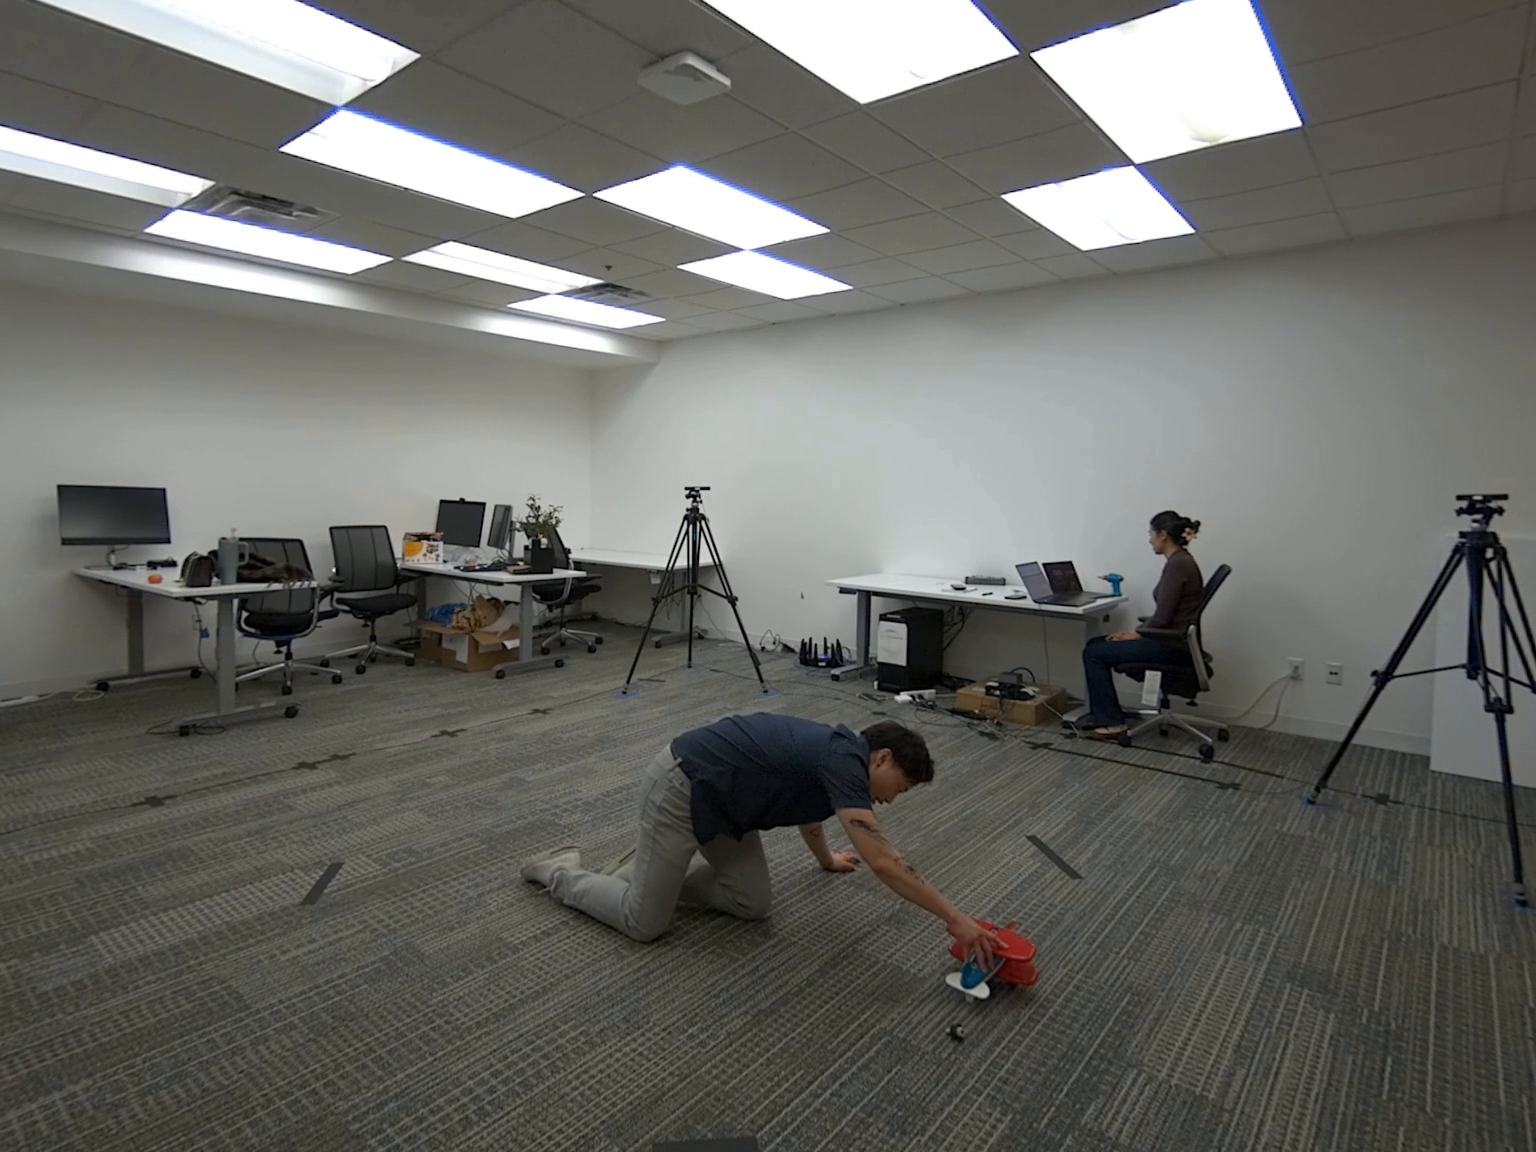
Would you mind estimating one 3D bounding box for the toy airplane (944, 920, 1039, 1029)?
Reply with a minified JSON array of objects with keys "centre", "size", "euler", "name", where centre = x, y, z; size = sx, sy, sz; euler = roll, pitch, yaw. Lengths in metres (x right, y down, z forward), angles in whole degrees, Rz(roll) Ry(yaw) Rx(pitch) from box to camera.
[{"centre":[0.626,1.085,2.377],"size":[0.255,0.156,0.256],"euler":[0,4,14],"name":"toy airplane"}]
